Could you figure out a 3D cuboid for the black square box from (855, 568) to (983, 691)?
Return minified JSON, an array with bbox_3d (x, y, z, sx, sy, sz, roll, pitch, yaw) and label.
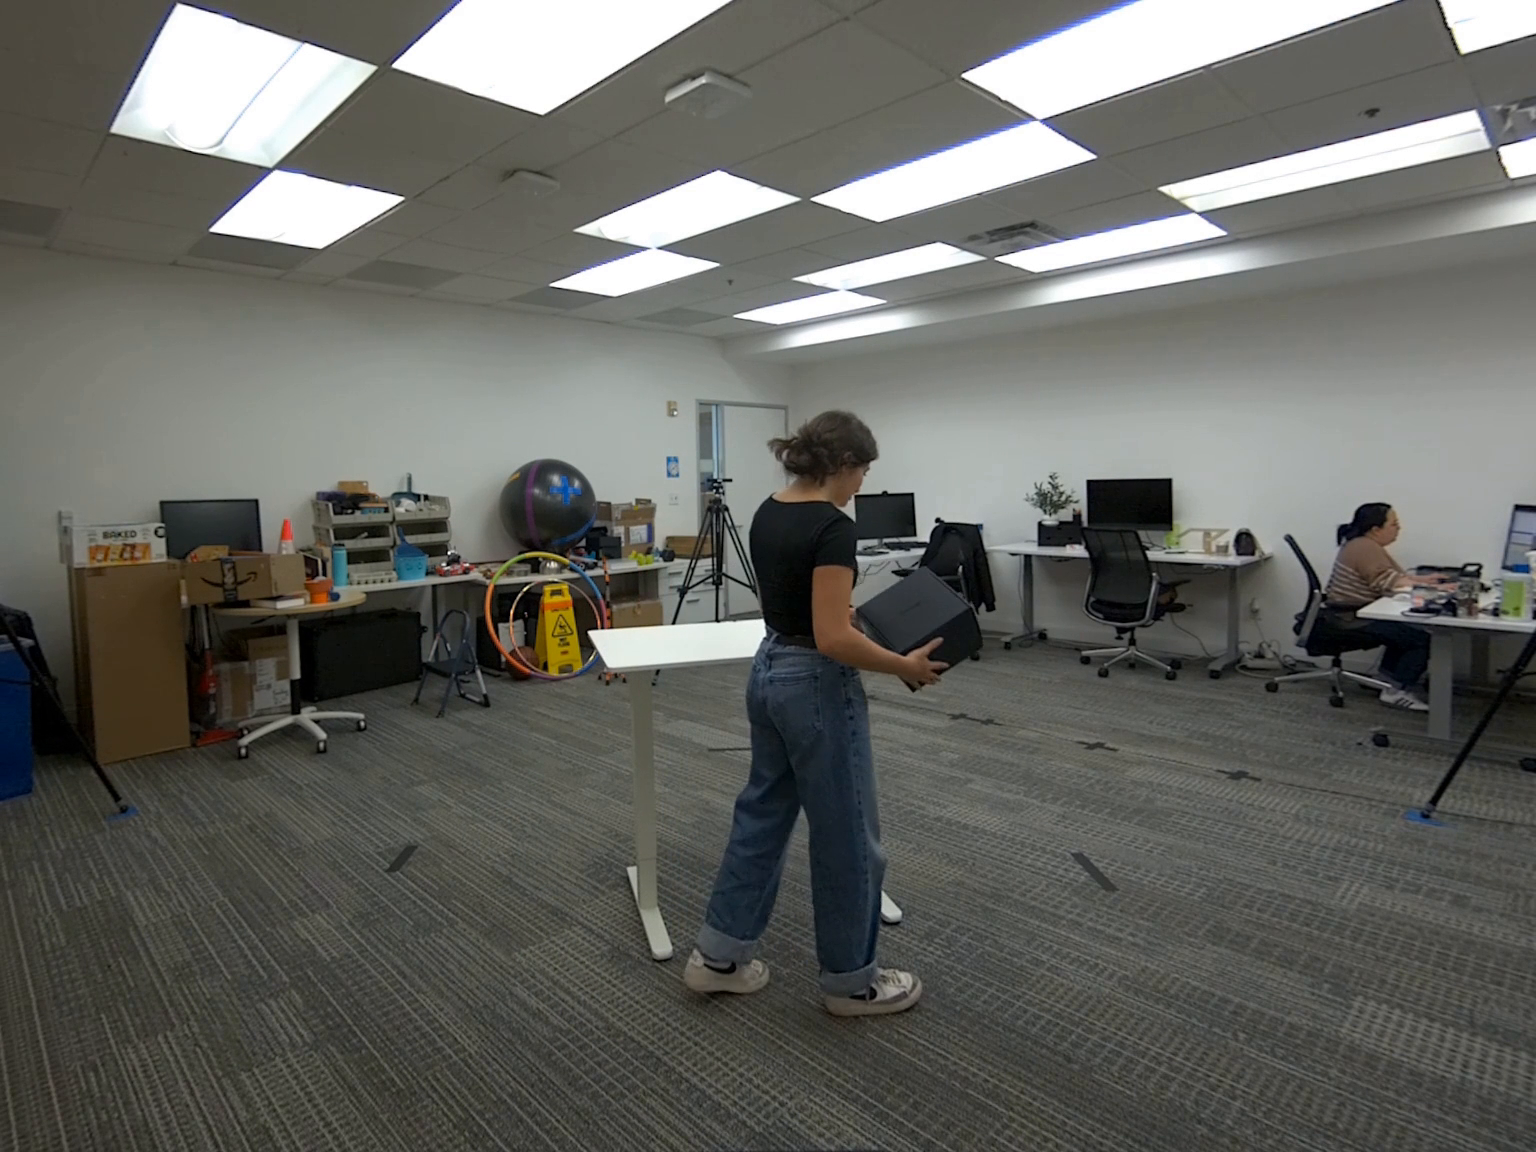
[{"bbox_3d":[0.395,0.131,2.241,0.227,0.150,0.225,-32,37,-5],"label":"black square box"}]
